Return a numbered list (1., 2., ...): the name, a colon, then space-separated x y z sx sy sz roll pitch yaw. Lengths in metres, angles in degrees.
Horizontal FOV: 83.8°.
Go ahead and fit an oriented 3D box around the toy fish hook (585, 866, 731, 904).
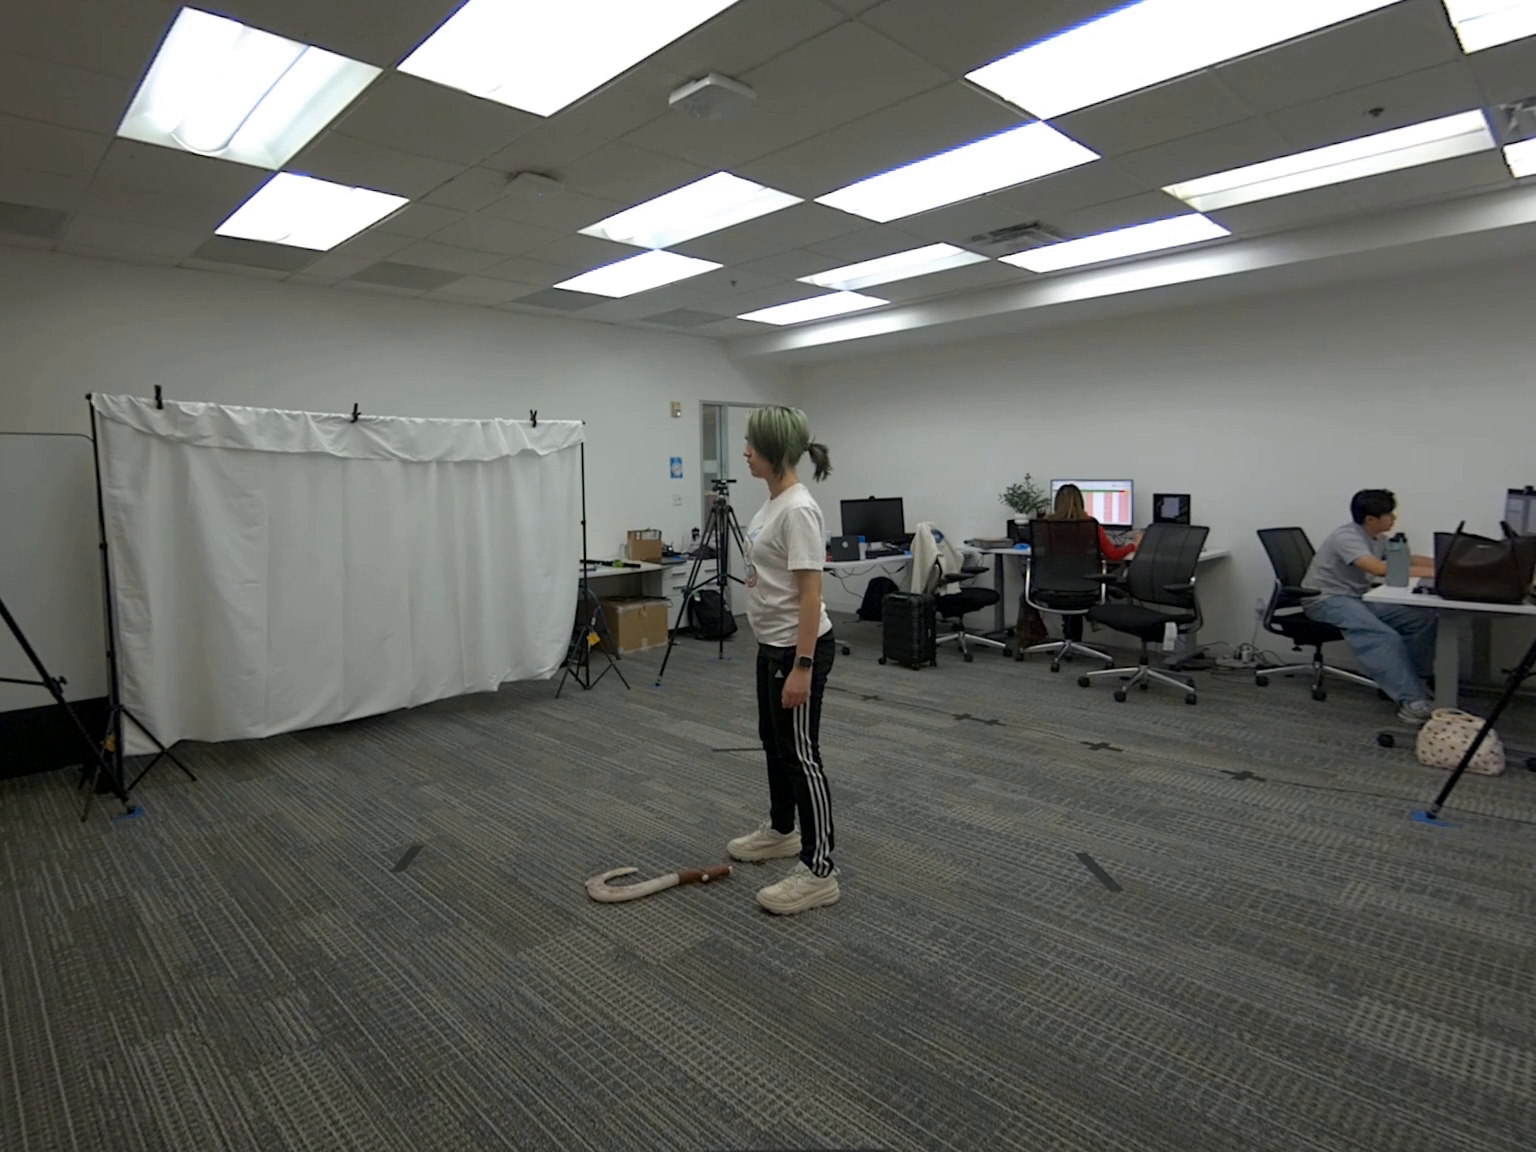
1. toy fish hook: -0.379 1.046 2.983 0.498 0.048 0.229 -3 7 -18
